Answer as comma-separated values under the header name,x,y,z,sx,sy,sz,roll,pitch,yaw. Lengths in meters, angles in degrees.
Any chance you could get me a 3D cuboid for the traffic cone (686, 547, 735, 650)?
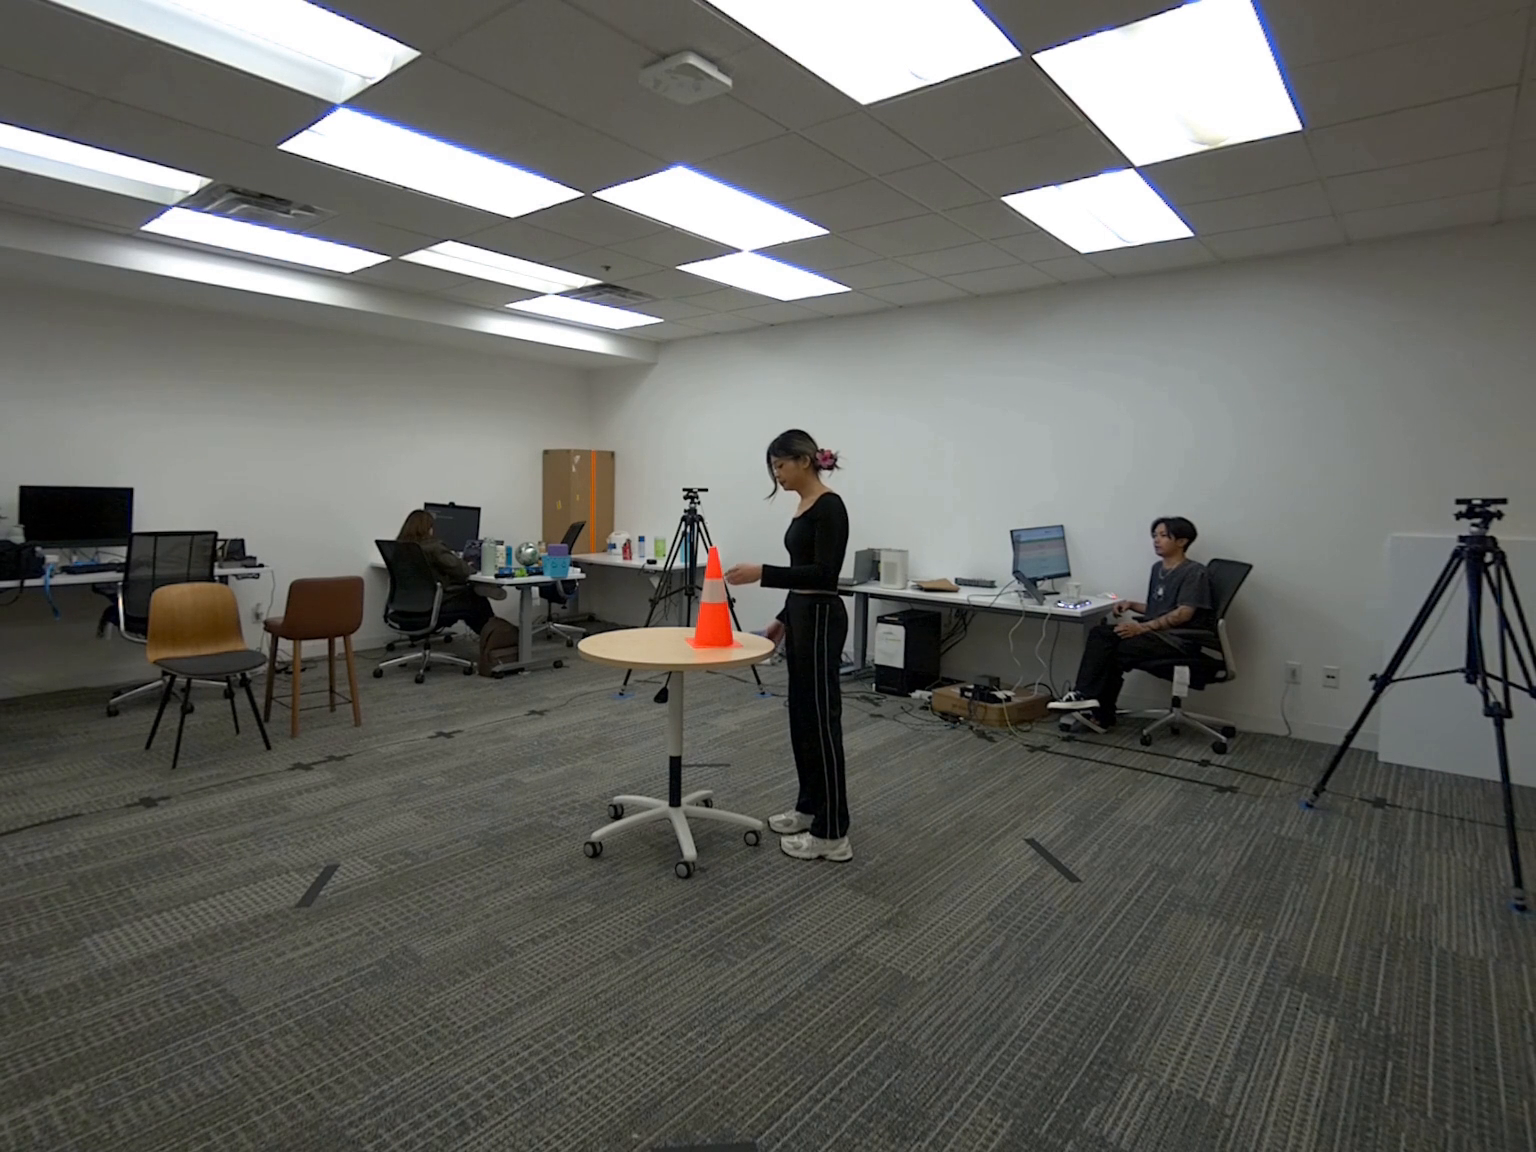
name,x,y,z,sx,sy,sz,roll,pitch,yaw
traffic cone,-0.222,0.074,3.345,0.200,0.383,0.209,0,3,-15
